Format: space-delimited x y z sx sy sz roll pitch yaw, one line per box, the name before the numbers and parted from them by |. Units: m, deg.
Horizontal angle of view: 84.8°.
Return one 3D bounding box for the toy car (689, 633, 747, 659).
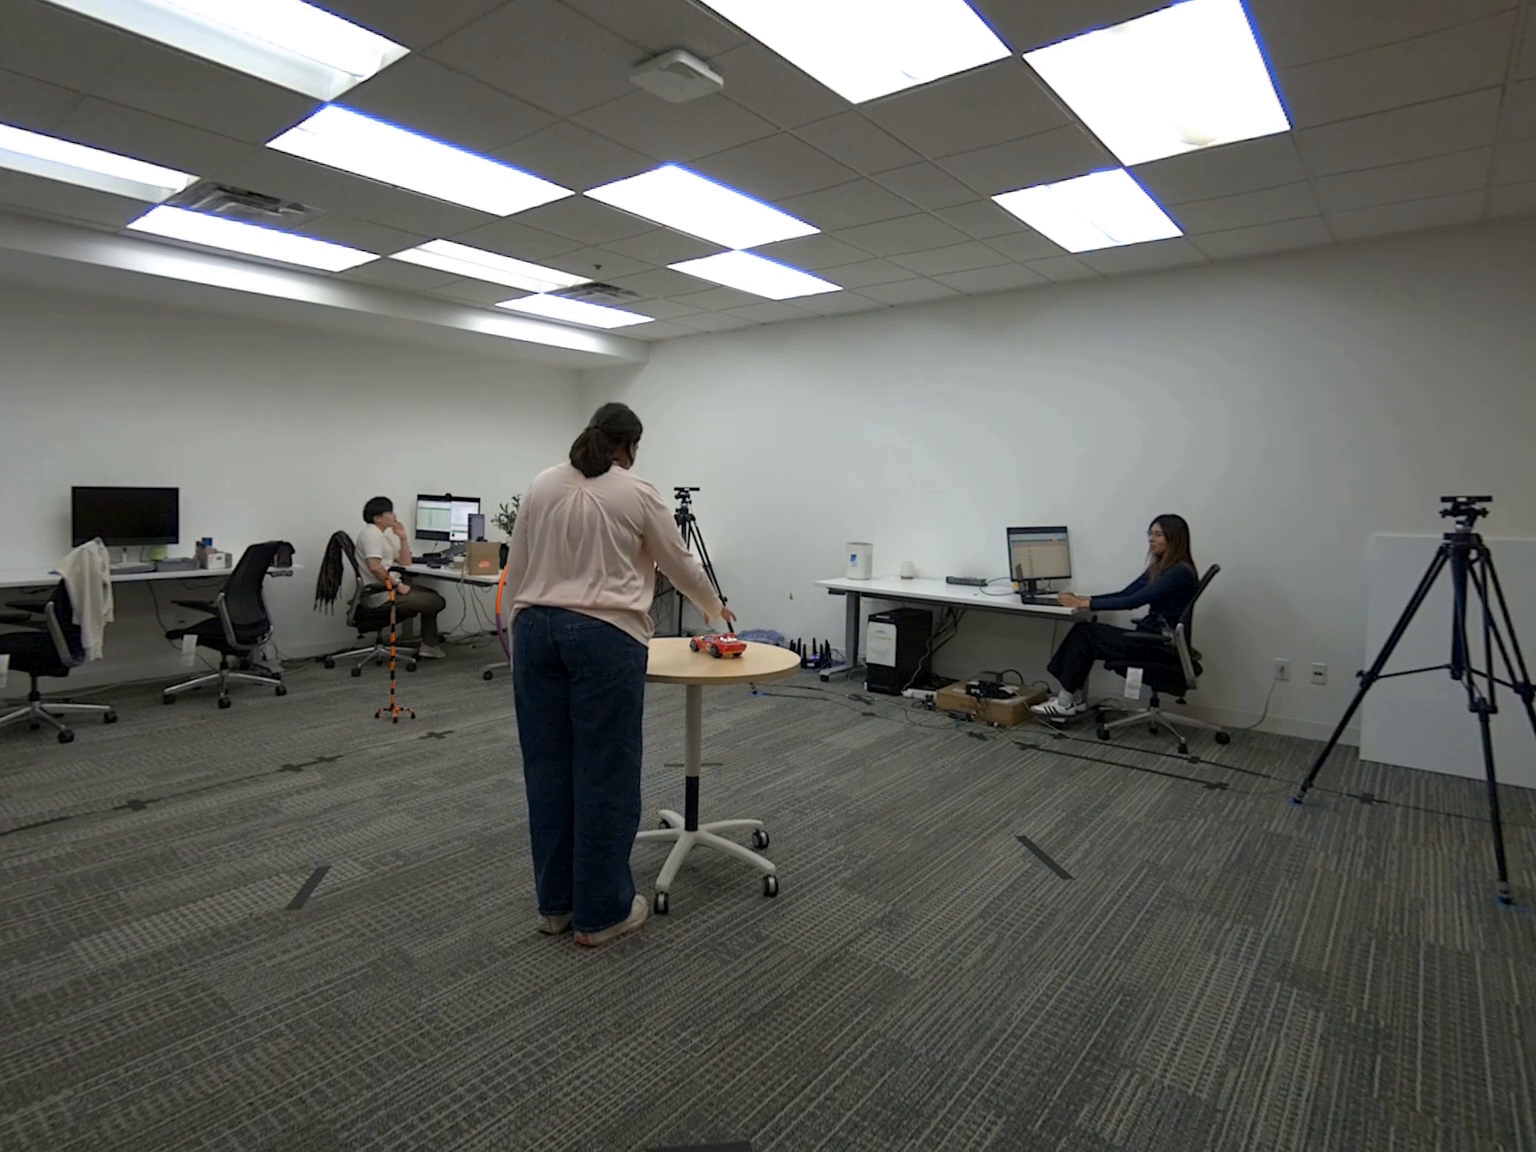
toy car | -0.189 0.252 3.113 0.126 0.084 0.260 -1 -5 -35
